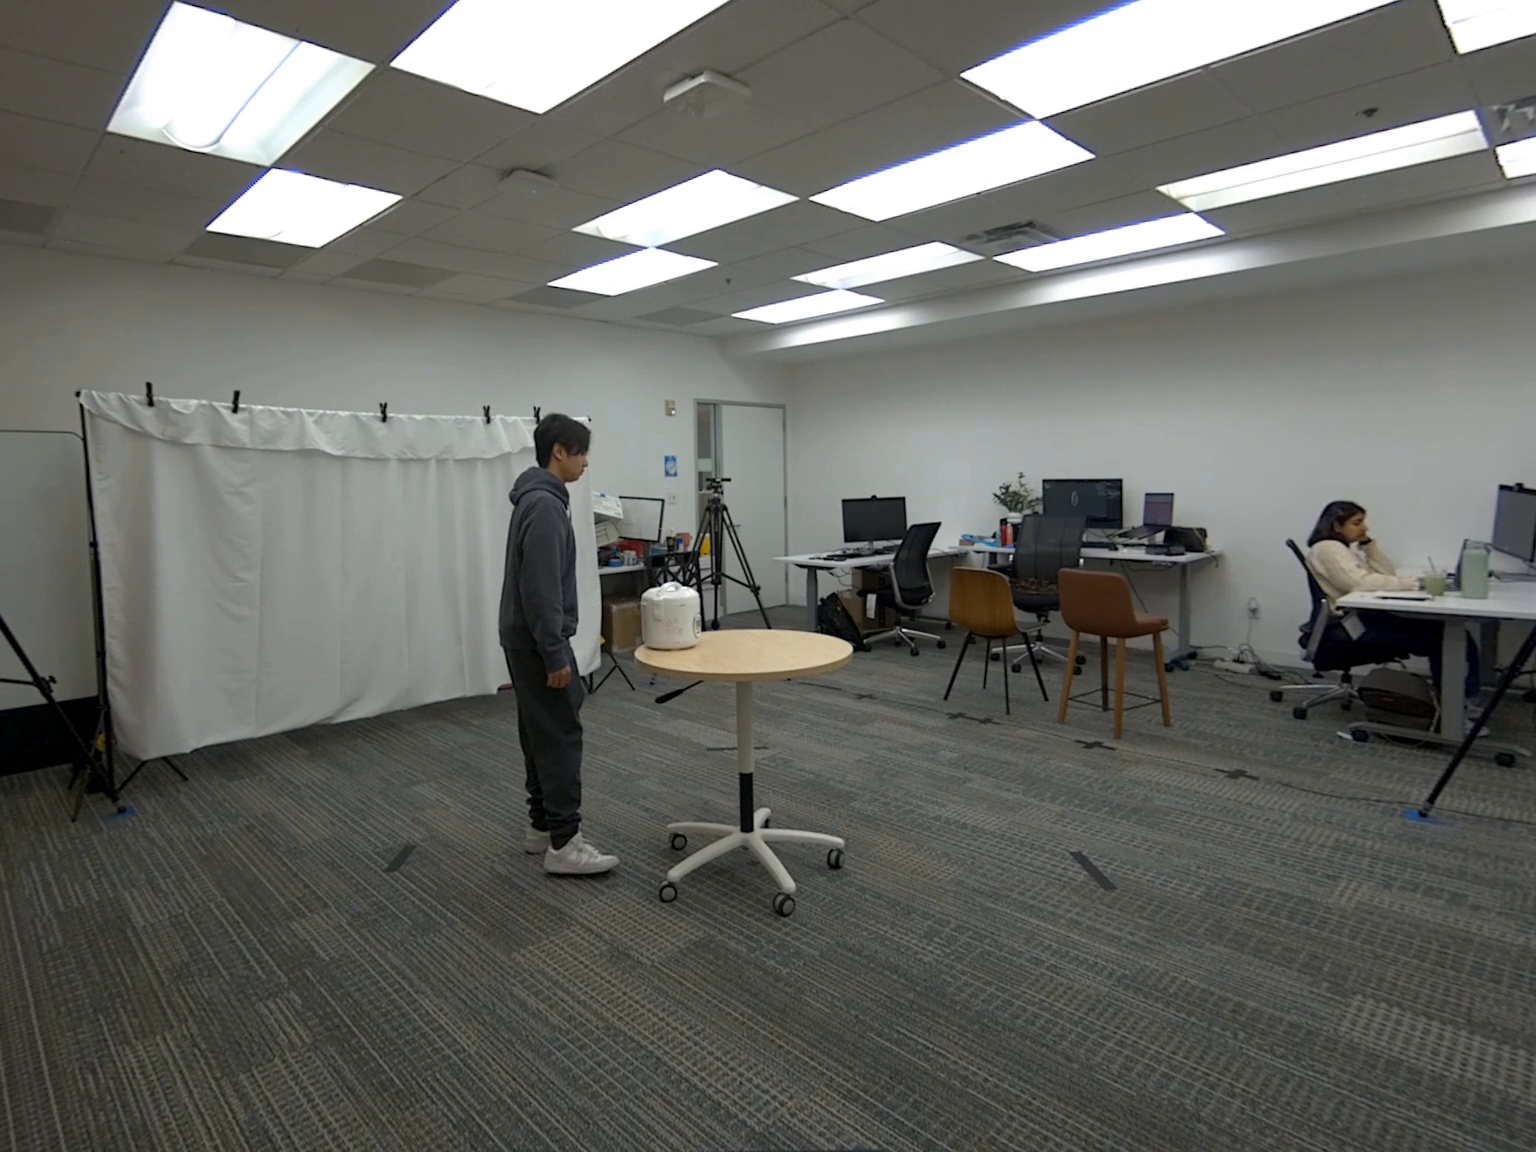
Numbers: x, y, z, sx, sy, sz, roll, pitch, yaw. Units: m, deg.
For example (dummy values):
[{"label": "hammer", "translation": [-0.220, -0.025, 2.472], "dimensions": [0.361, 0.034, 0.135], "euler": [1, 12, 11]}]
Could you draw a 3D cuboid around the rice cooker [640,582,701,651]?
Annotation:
[{"label": "rice cooker", "translation": [-0.353, 0.137, 3.086], "dimensions": [0.222, 0.232, 0.217], "euler": [-1, 5, 22]}]
